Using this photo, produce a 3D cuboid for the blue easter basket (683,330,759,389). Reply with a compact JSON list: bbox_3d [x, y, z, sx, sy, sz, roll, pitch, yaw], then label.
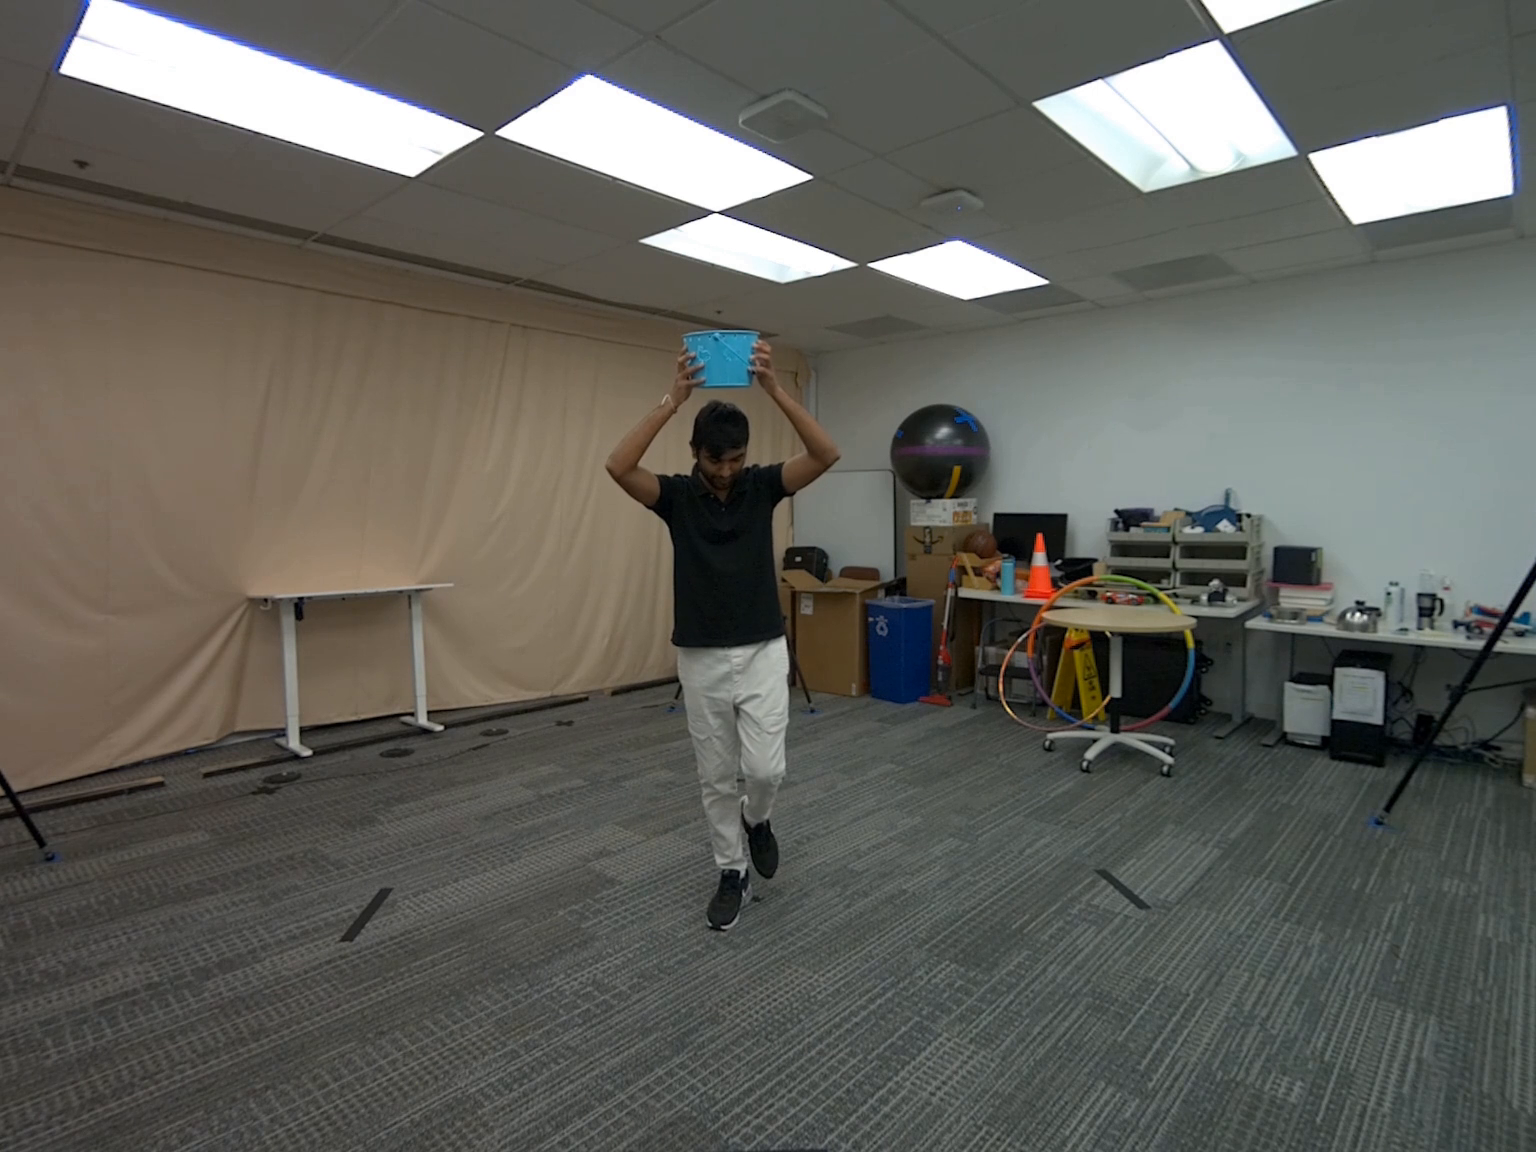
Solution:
[{"bbox_3d":[-0.136,-0.646,2.508,0.243,0.155,0.245,-3,11,-1],"label":"blue easter basket"}]
